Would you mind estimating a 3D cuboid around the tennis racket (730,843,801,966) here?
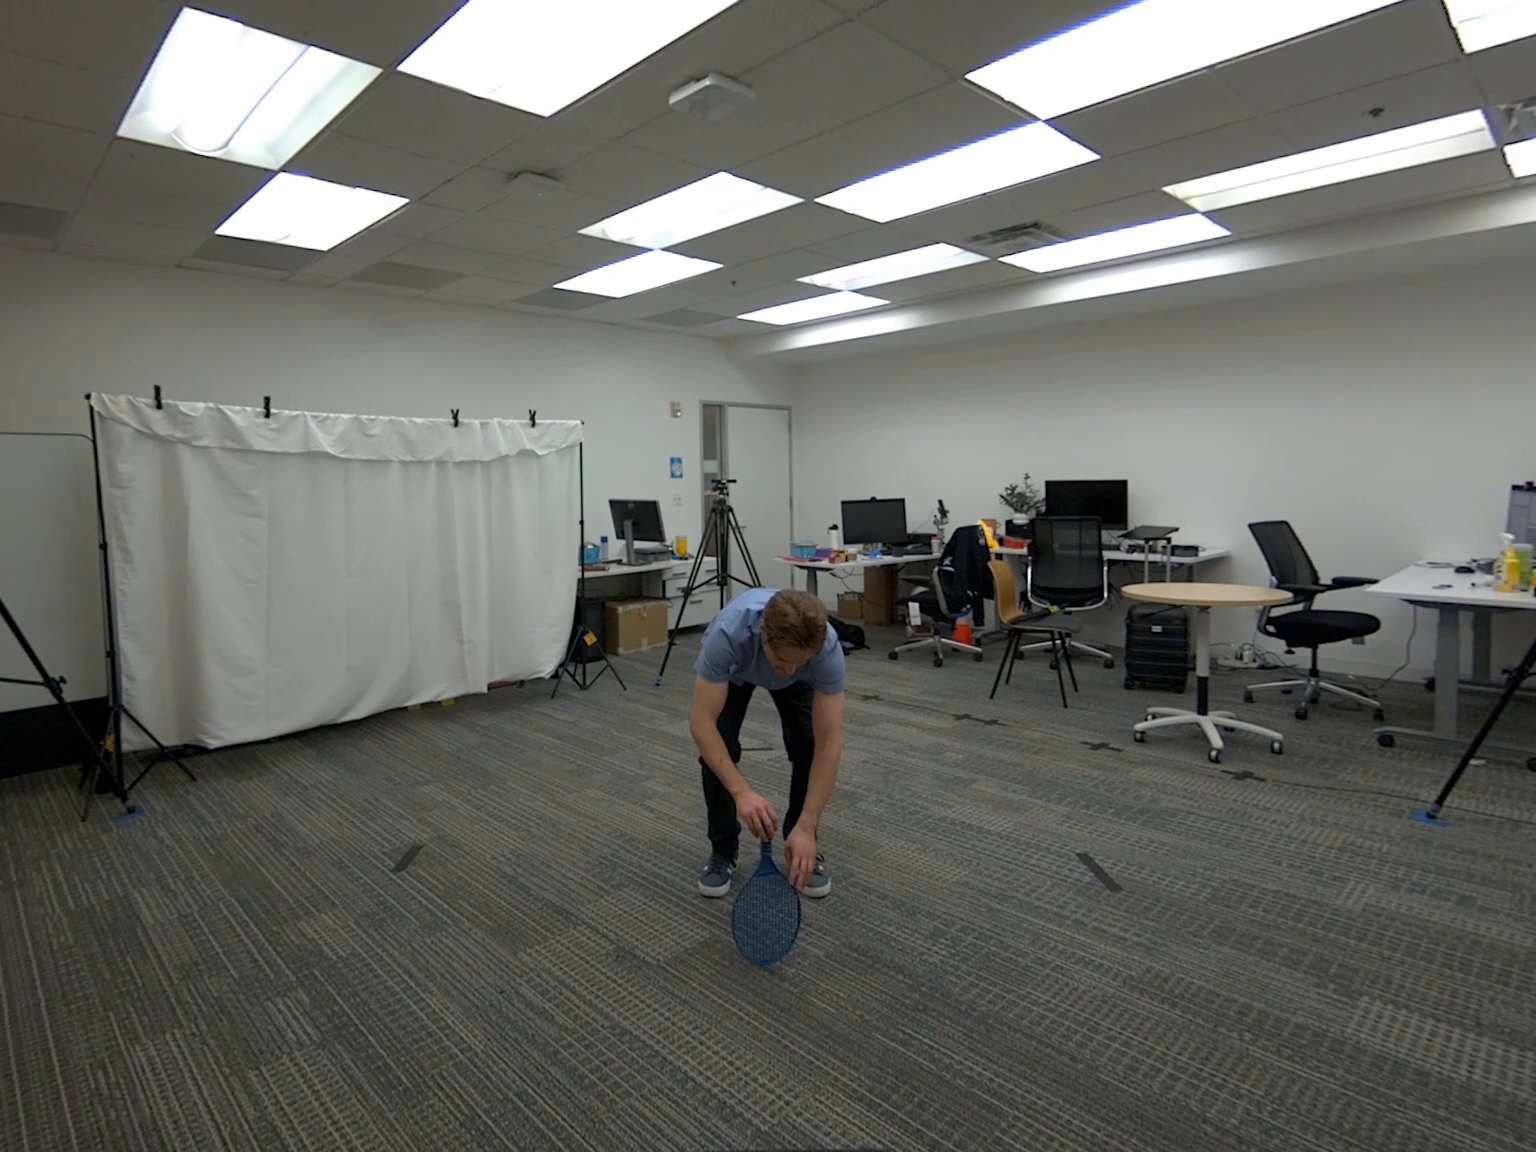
[{"bbox_3d":[0.000,0.907,2.472,0.211,0.433,0.032,3,0,-13],"label":"tennis racket"}]
